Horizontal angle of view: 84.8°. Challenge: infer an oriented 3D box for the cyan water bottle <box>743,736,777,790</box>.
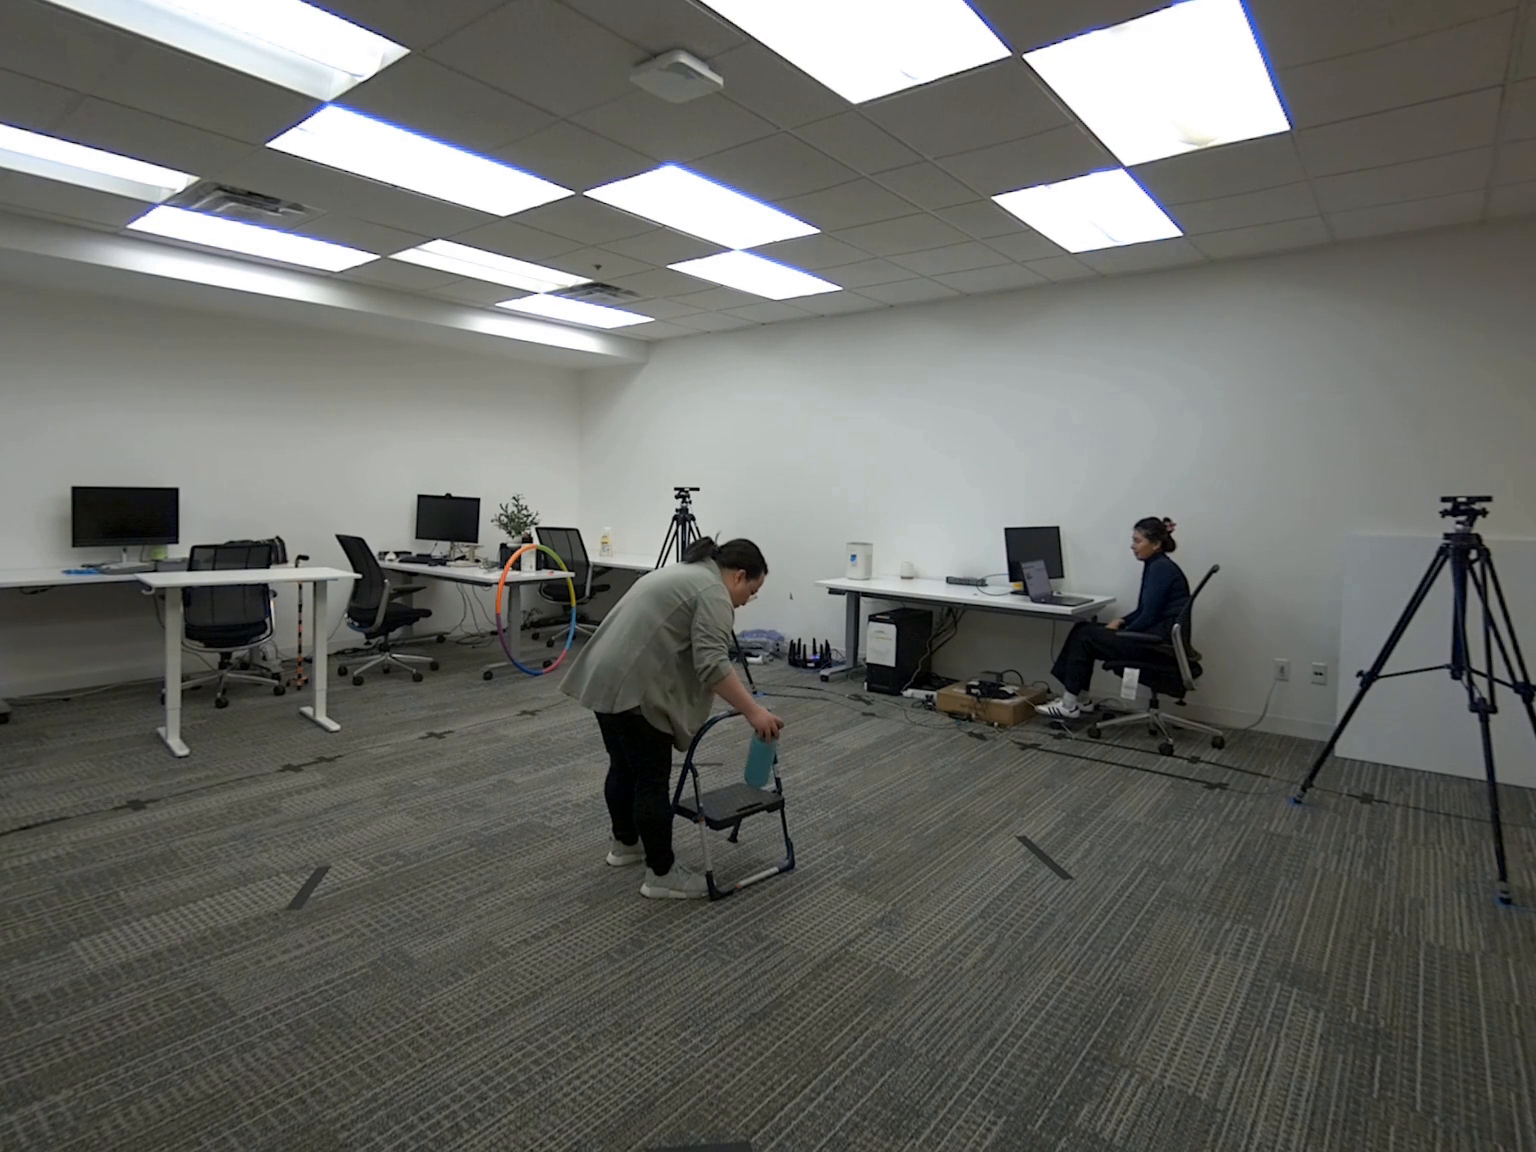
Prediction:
[{"bbox_3d":[-0.036,0.586,2.894,0.092,0.278,0.095,7,30,-6],"label":"cyan water bottle"}]
